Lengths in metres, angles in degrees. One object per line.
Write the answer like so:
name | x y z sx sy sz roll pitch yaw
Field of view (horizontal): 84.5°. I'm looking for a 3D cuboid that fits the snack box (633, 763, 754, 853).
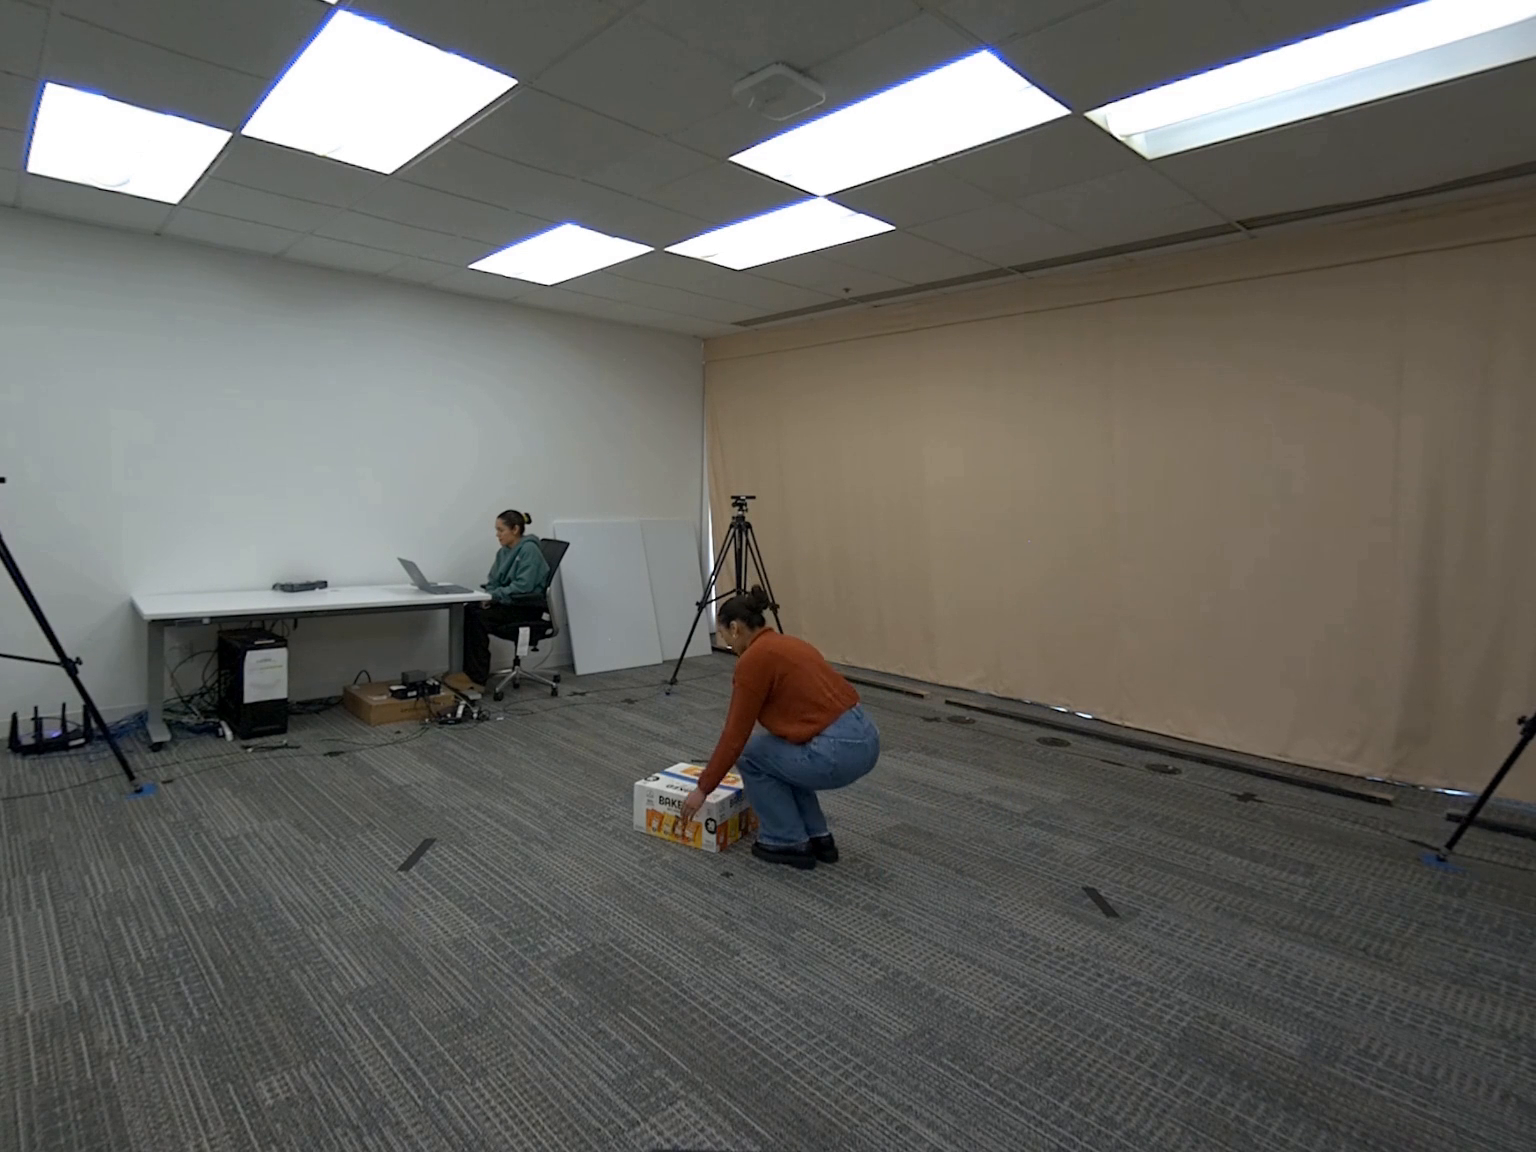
snack box | -0.302 0.958 3.523 0.414 0.205 0.334 4 5 30
